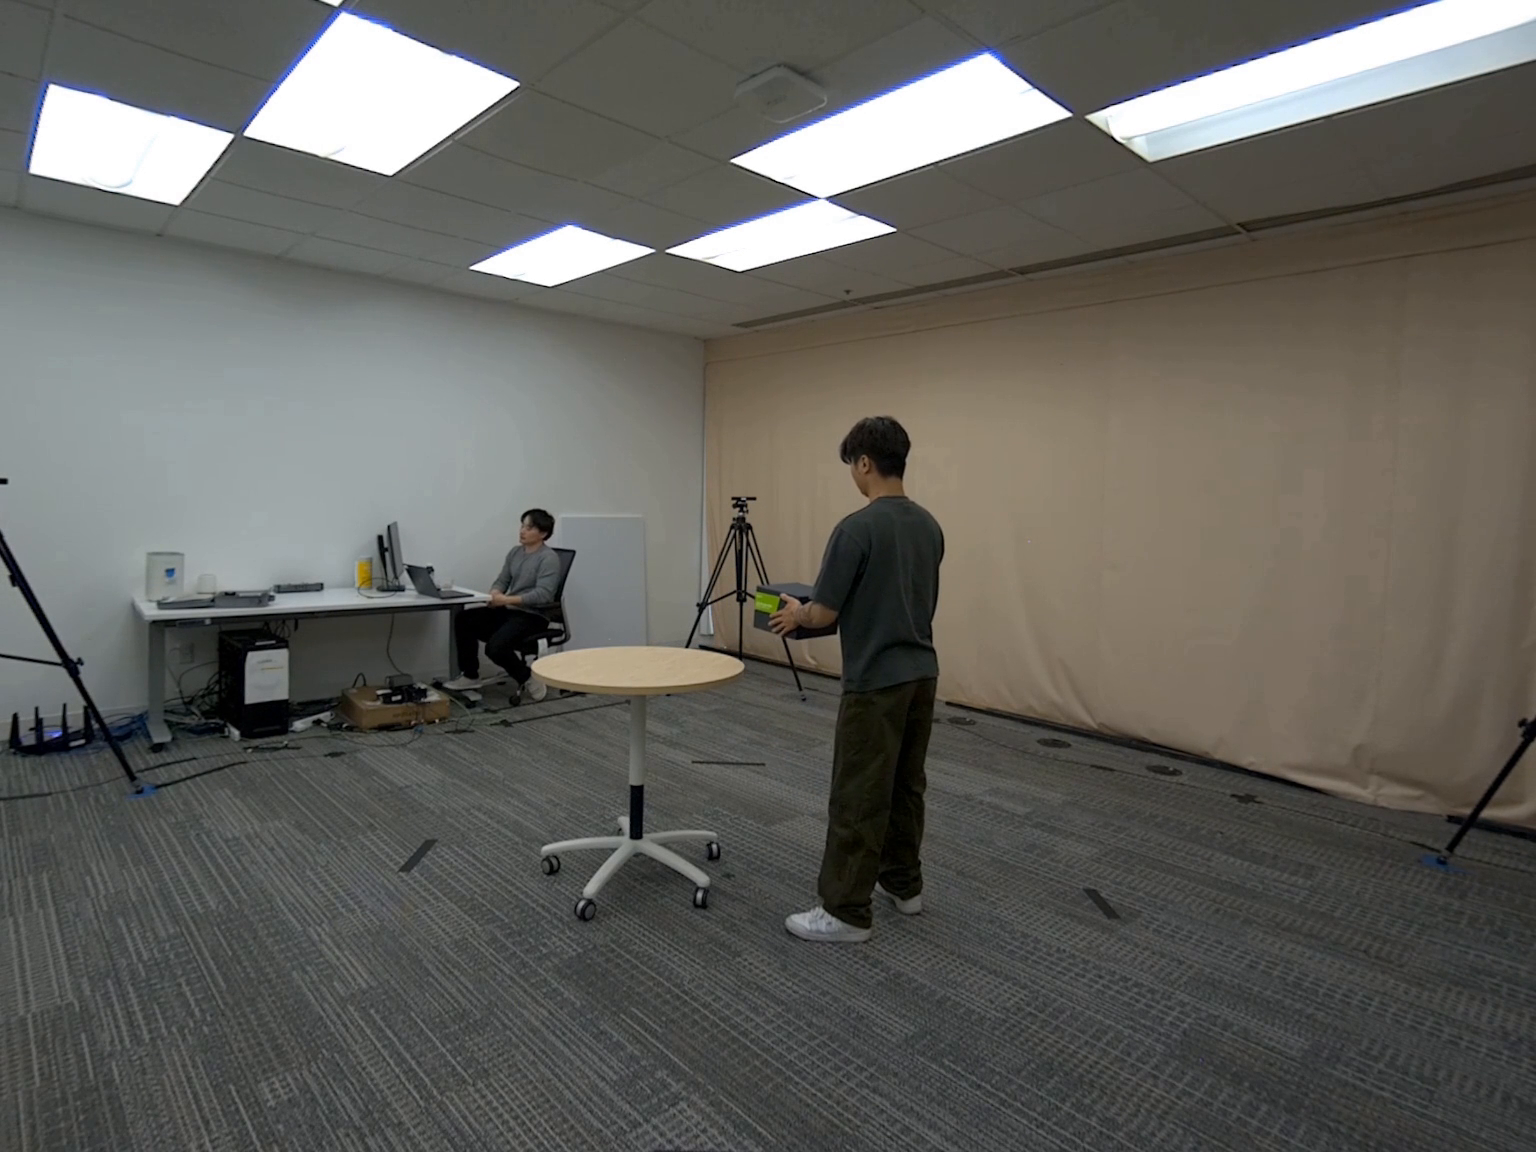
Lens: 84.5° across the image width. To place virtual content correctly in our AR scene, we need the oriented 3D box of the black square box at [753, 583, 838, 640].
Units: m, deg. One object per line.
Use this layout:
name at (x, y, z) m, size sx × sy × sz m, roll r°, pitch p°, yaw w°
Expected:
black square box at (0.093, 0.122, 3.068) m, size 0.212 × 0.155 × 0.234 m, roll -4°, pitch 11°, yaw -44°
